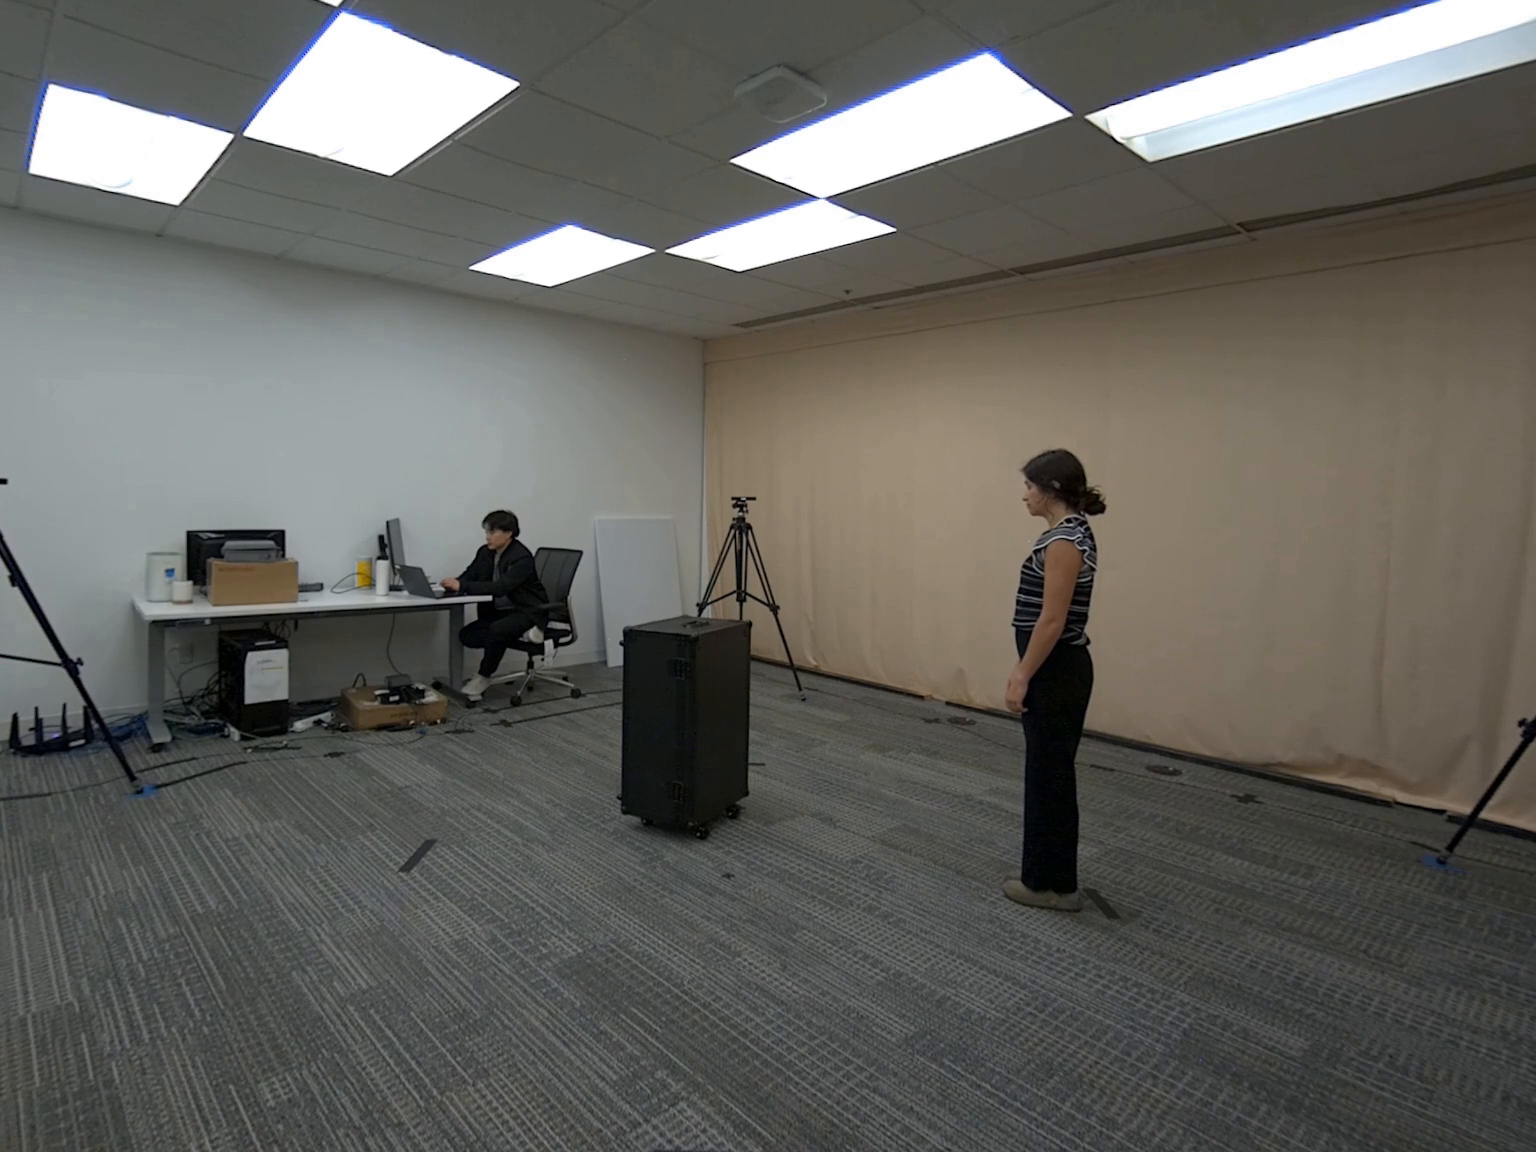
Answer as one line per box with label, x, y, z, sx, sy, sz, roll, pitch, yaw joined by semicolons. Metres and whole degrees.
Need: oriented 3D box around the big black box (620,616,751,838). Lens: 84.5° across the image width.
big black box;-0.364;0.634;3.629;0.404;0.860;0.511;2;3;28
